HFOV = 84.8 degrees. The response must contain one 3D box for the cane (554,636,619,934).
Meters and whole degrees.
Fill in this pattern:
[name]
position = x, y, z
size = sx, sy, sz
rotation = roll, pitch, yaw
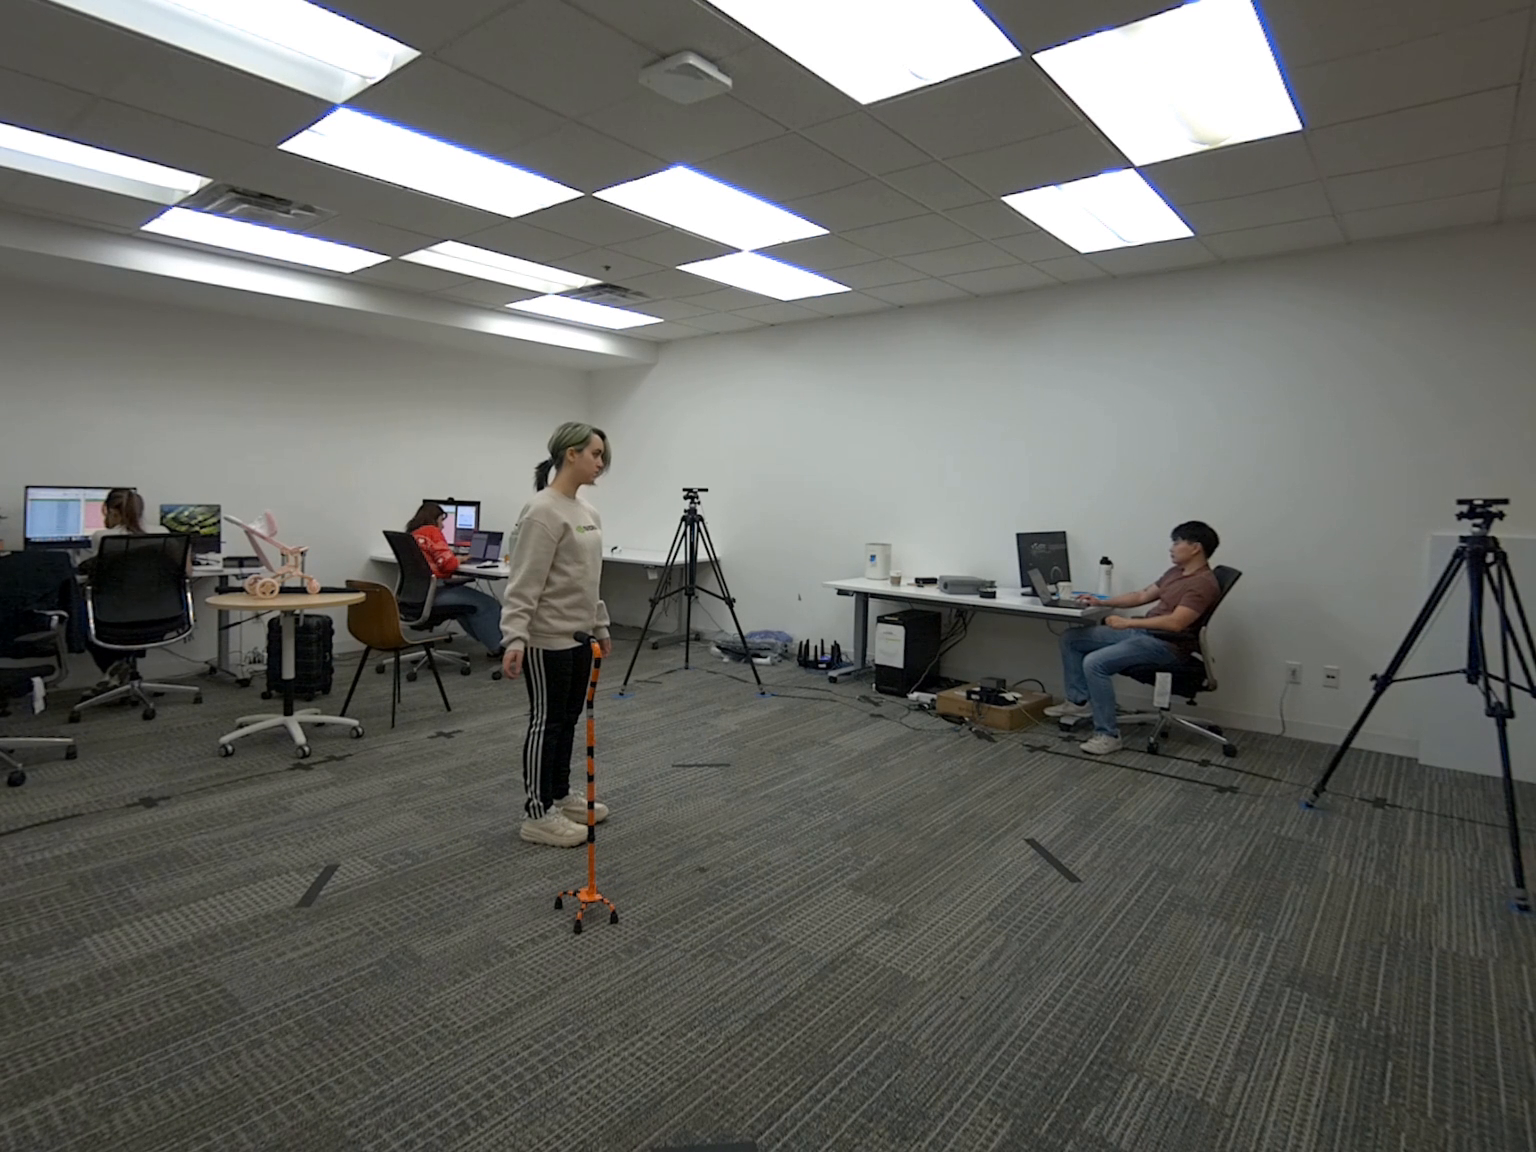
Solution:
[cane]
position = -0.600, 0.646, 2.741
size = 0.147, 0.906, 0.213
rotation = 0, 2, -33
